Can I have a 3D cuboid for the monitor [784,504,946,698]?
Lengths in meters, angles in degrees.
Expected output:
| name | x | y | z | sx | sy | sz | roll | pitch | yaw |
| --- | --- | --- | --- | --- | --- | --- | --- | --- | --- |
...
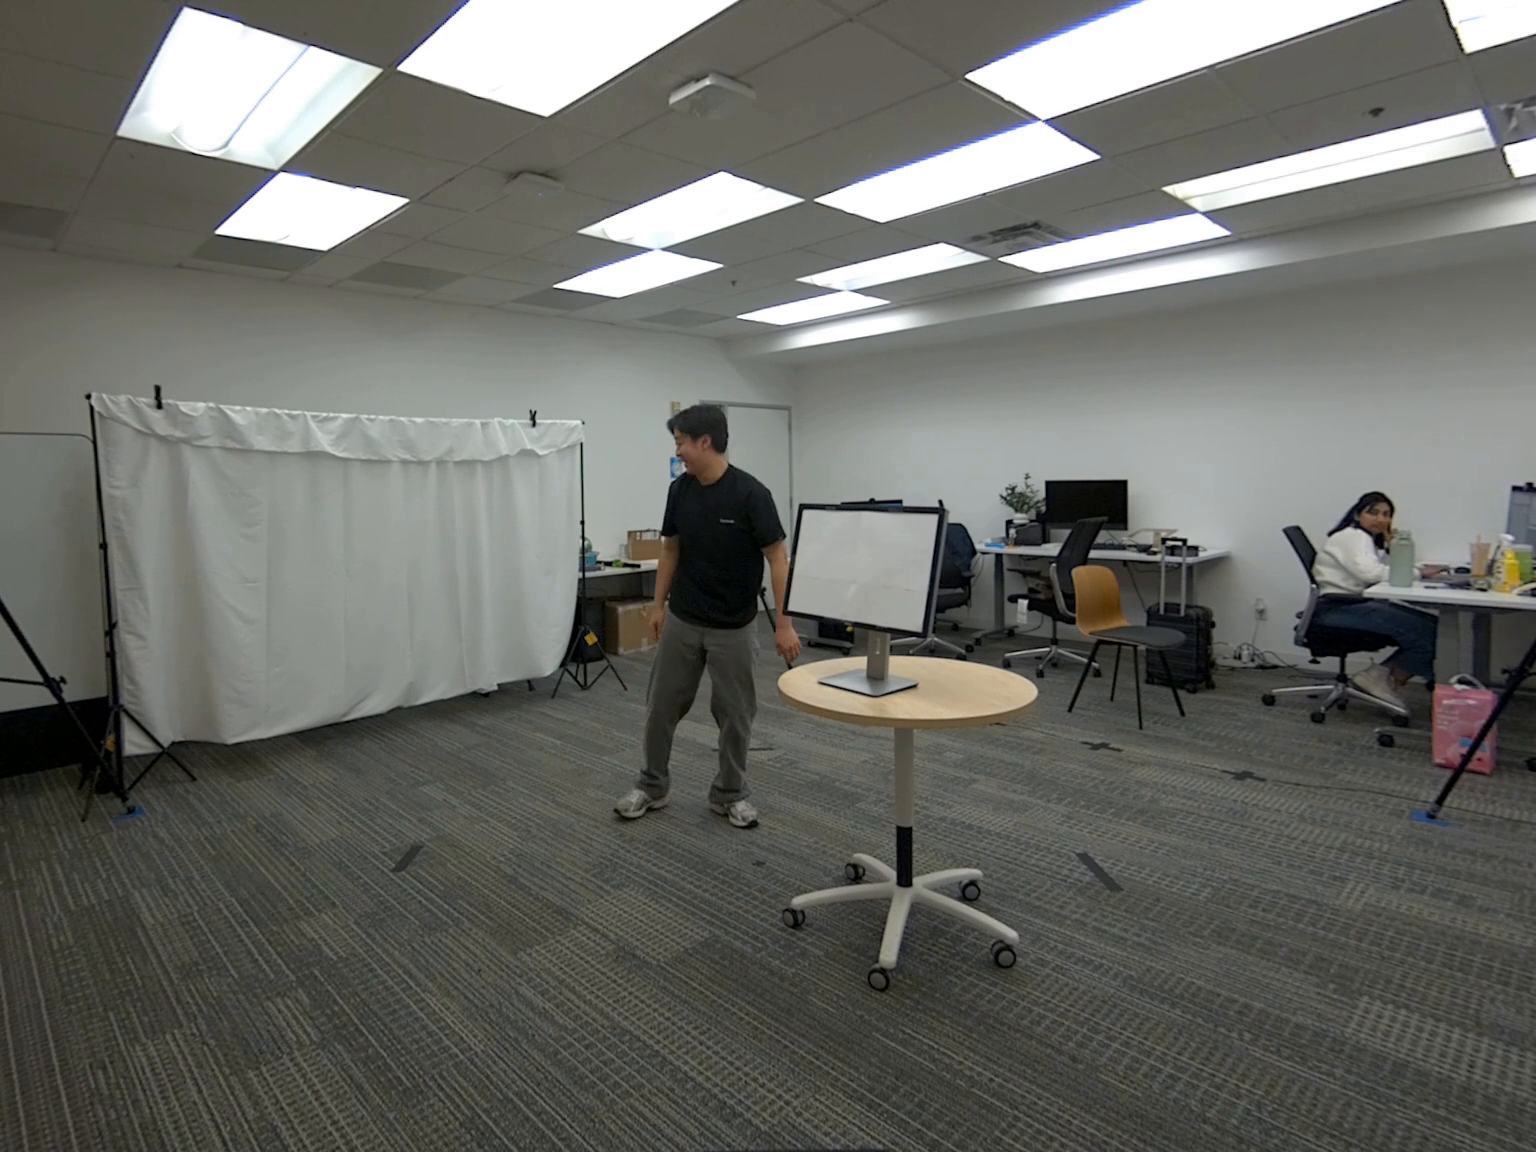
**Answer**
| name | x | y | z | sx | sy | sz | roll | pitch | yaw |
| --- | --- | --- | --- | --- | --- | --- | --- | --- | --- |
| monitor | 0.319 | 0.063 | 2.574 | 0.204 | 0.554 | 0.583 | 4 | 0 | -42 |
